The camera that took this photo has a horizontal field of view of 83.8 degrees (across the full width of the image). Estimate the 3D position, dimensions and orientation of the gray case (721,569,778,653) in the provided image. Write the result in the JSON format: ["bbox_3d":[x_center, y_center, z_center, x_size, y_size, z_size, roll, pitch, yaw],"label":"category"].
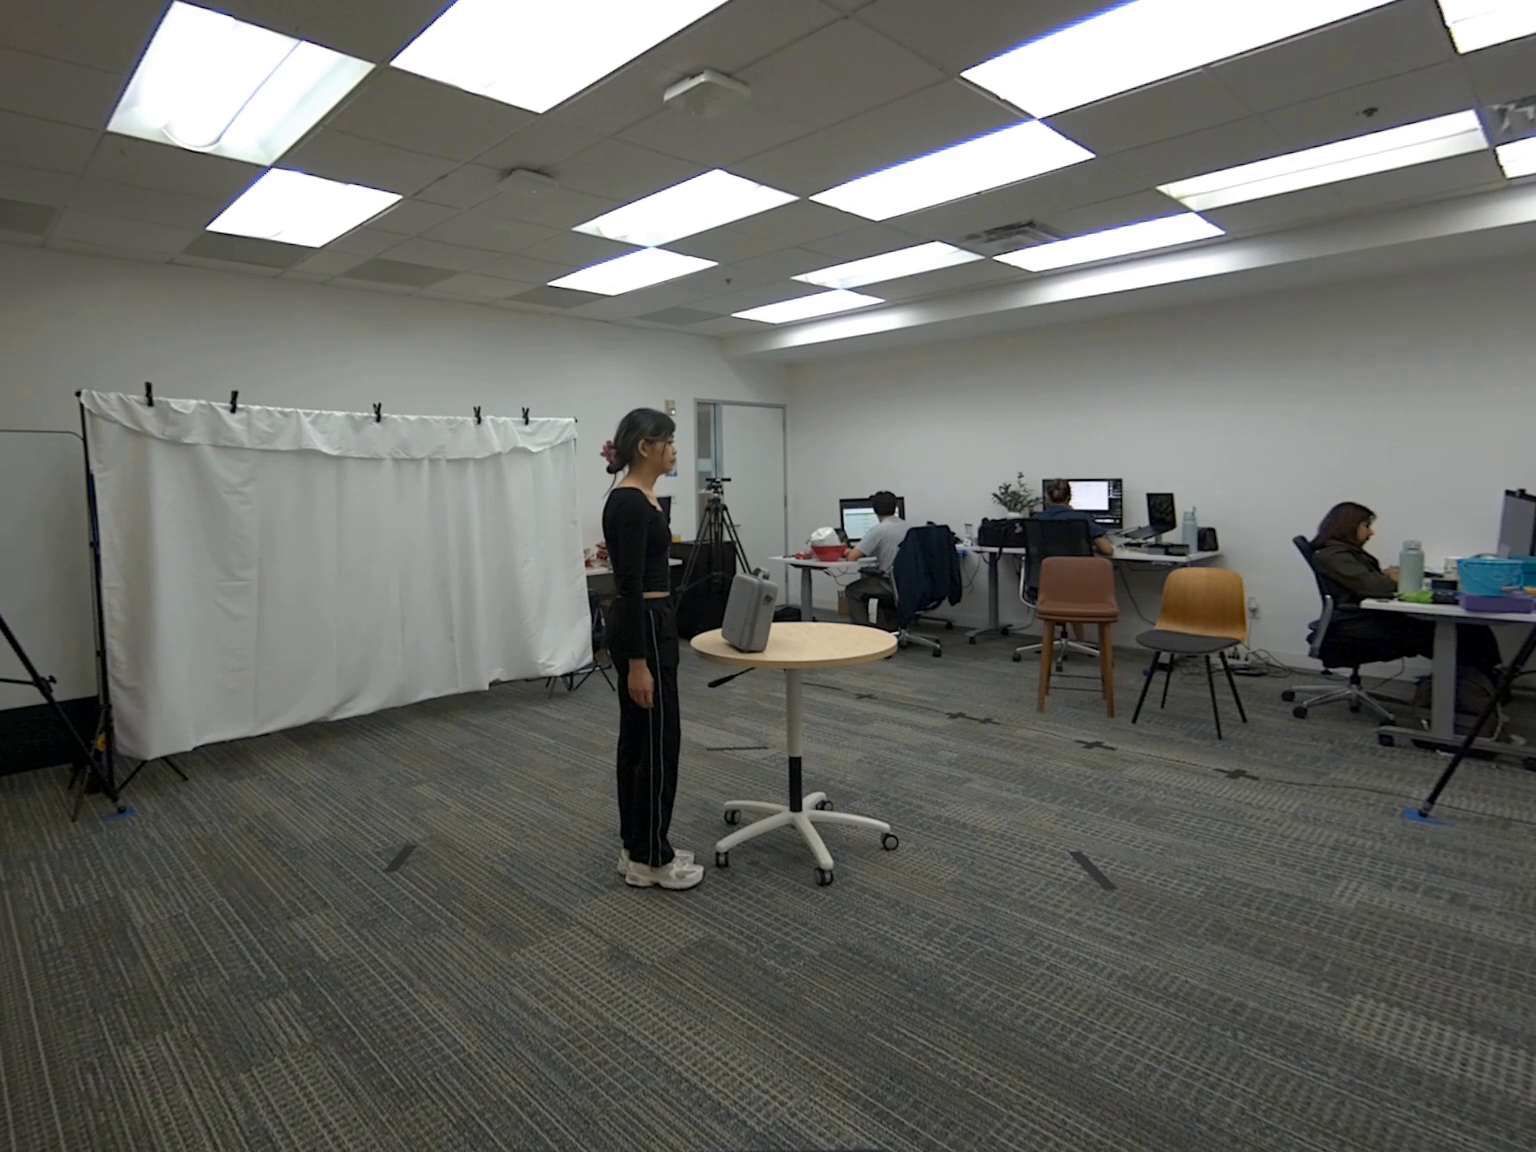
[{"bbox_3d":[-0.070,0.124,3.056,0.102,0.260,0.262,11,2,-19],"label":"gray case"}]
